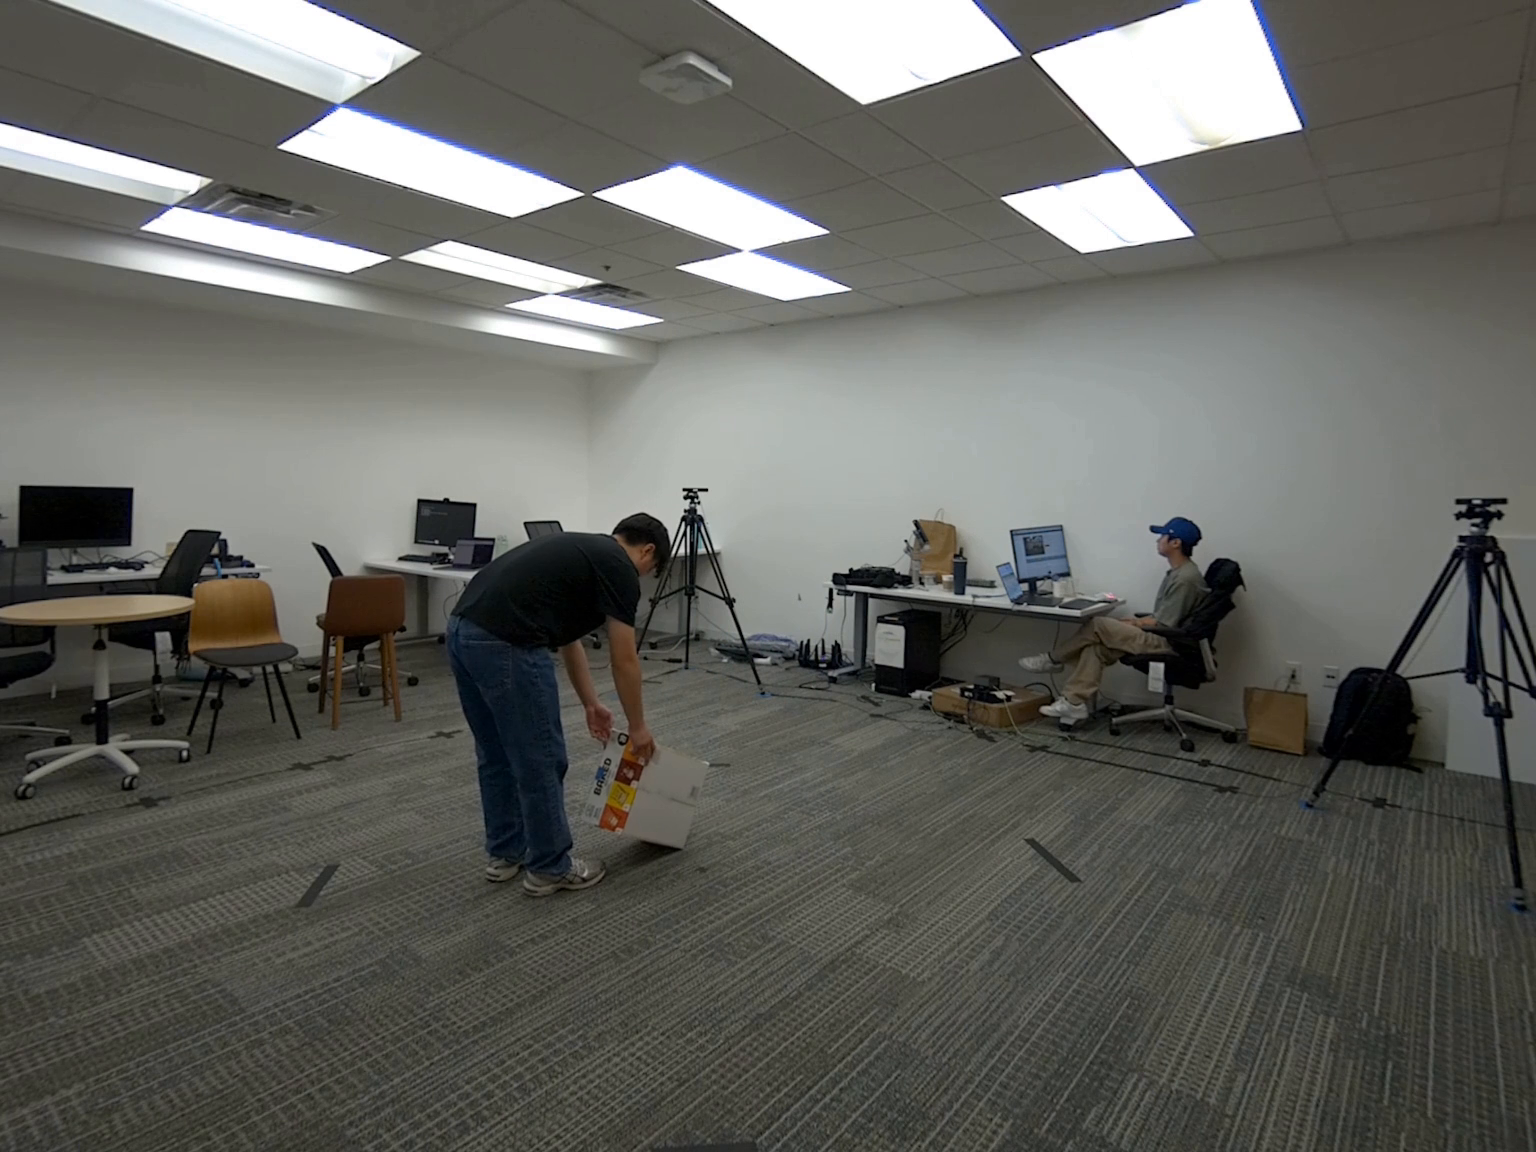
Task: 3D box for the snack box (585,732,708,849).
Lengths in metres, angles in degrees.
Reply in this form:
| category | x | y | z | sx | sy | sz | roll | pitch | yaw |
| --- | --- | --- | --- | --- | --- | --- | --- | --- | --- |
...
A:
| category | x | y | z | sx | sy | sz | roll | pitch | yaw |
| --- | --- | --- | --- | --- | --- | --- | --- | --- | --- |
| snack box | -0.472 | 0.810 | 3.237 | 0.212 | 0.343 | 0.388 | 7 | -18 | 34 |
